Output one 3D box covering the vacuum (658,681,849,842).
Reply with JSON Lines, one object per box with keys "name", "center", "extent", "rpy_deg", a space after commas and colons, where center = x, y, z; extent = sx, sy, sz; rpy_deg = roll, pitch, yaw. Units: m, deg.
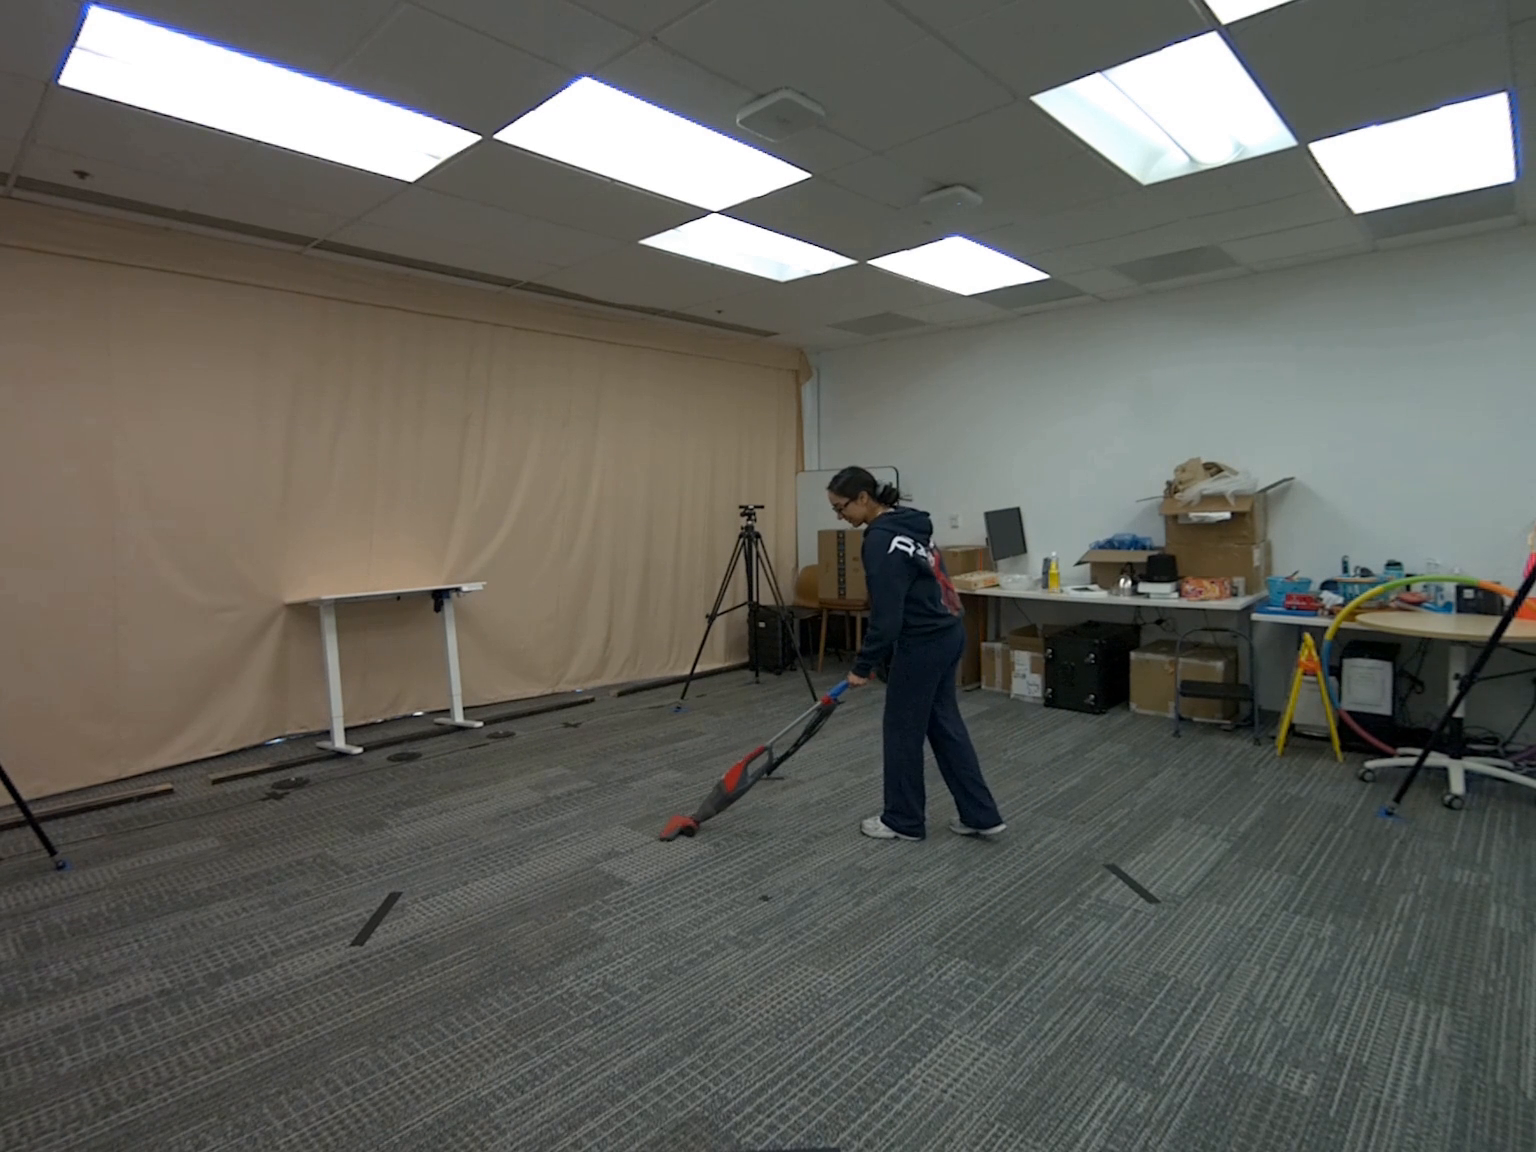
{"name": "vacuum", "center": [0.026, 0.751, 3.533], "extent": [1.054, 0.144, 0.252], "rpy_deg": [-40, 2, 11]}
